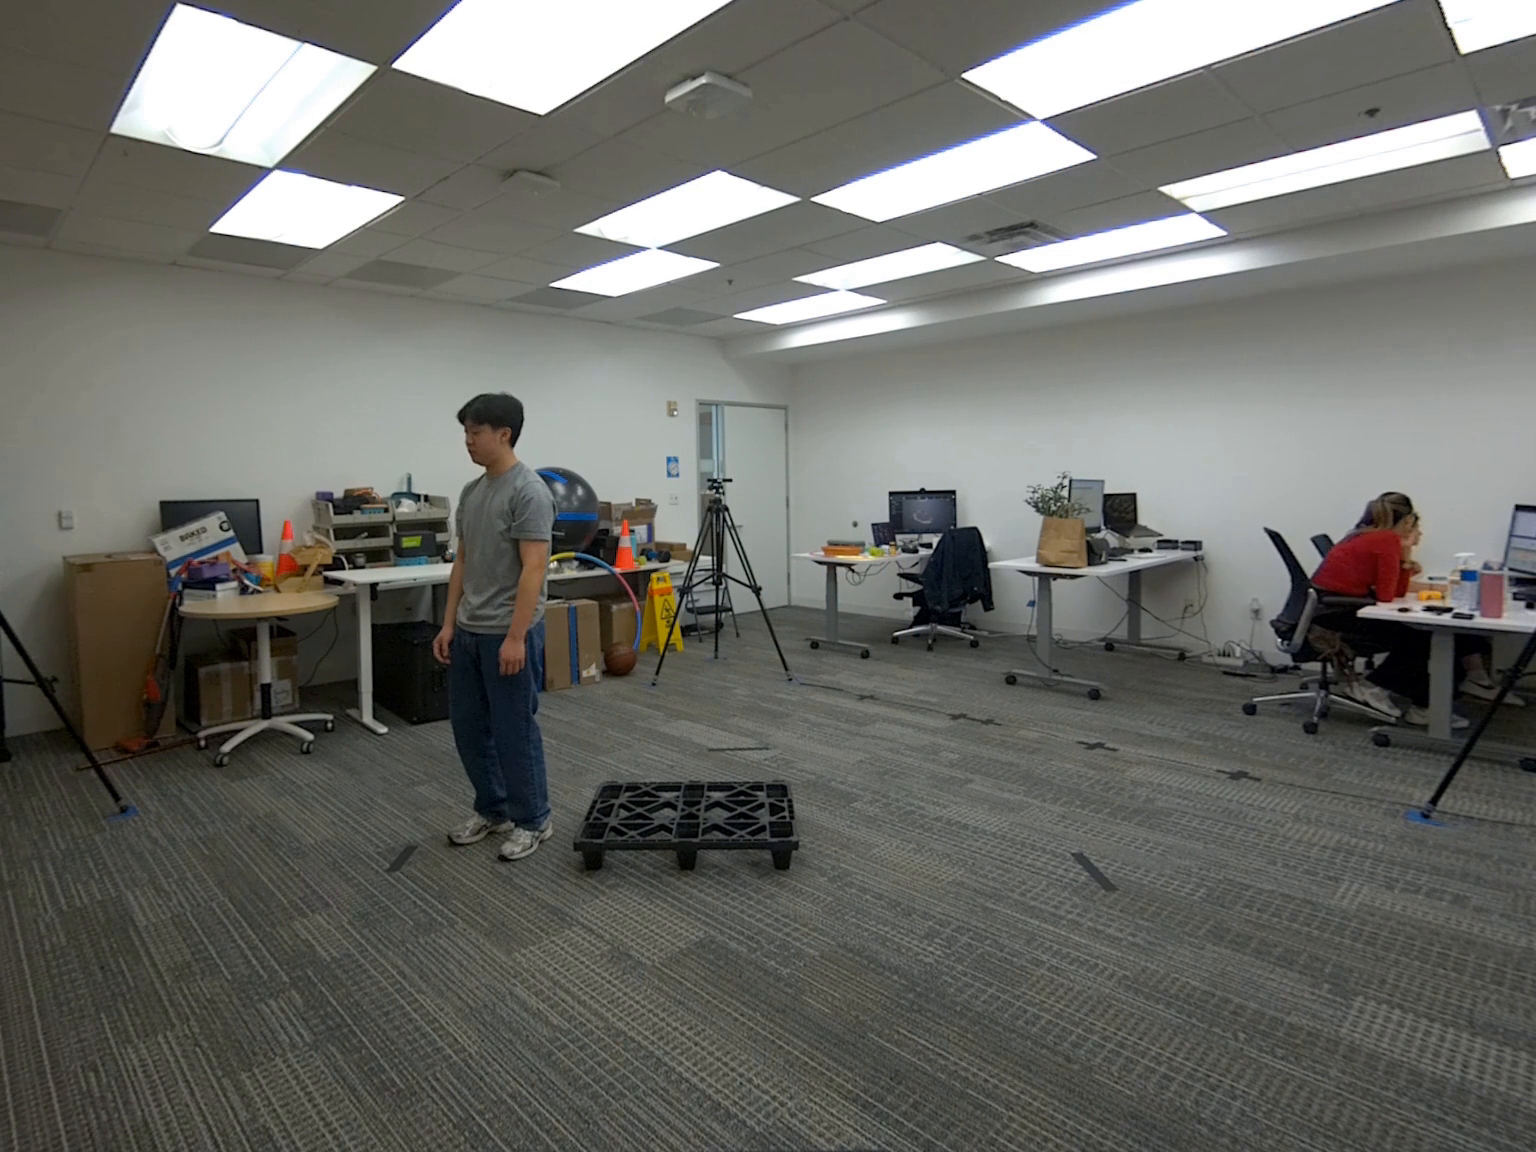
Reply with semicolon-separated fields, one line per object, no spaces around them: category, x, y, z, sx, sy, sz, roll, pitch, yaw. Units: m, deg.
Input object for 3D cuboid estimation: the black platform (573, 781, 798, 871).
black platform;-0.293;0.961;3.286;0.807;0.142;0.607;-1;7;1
